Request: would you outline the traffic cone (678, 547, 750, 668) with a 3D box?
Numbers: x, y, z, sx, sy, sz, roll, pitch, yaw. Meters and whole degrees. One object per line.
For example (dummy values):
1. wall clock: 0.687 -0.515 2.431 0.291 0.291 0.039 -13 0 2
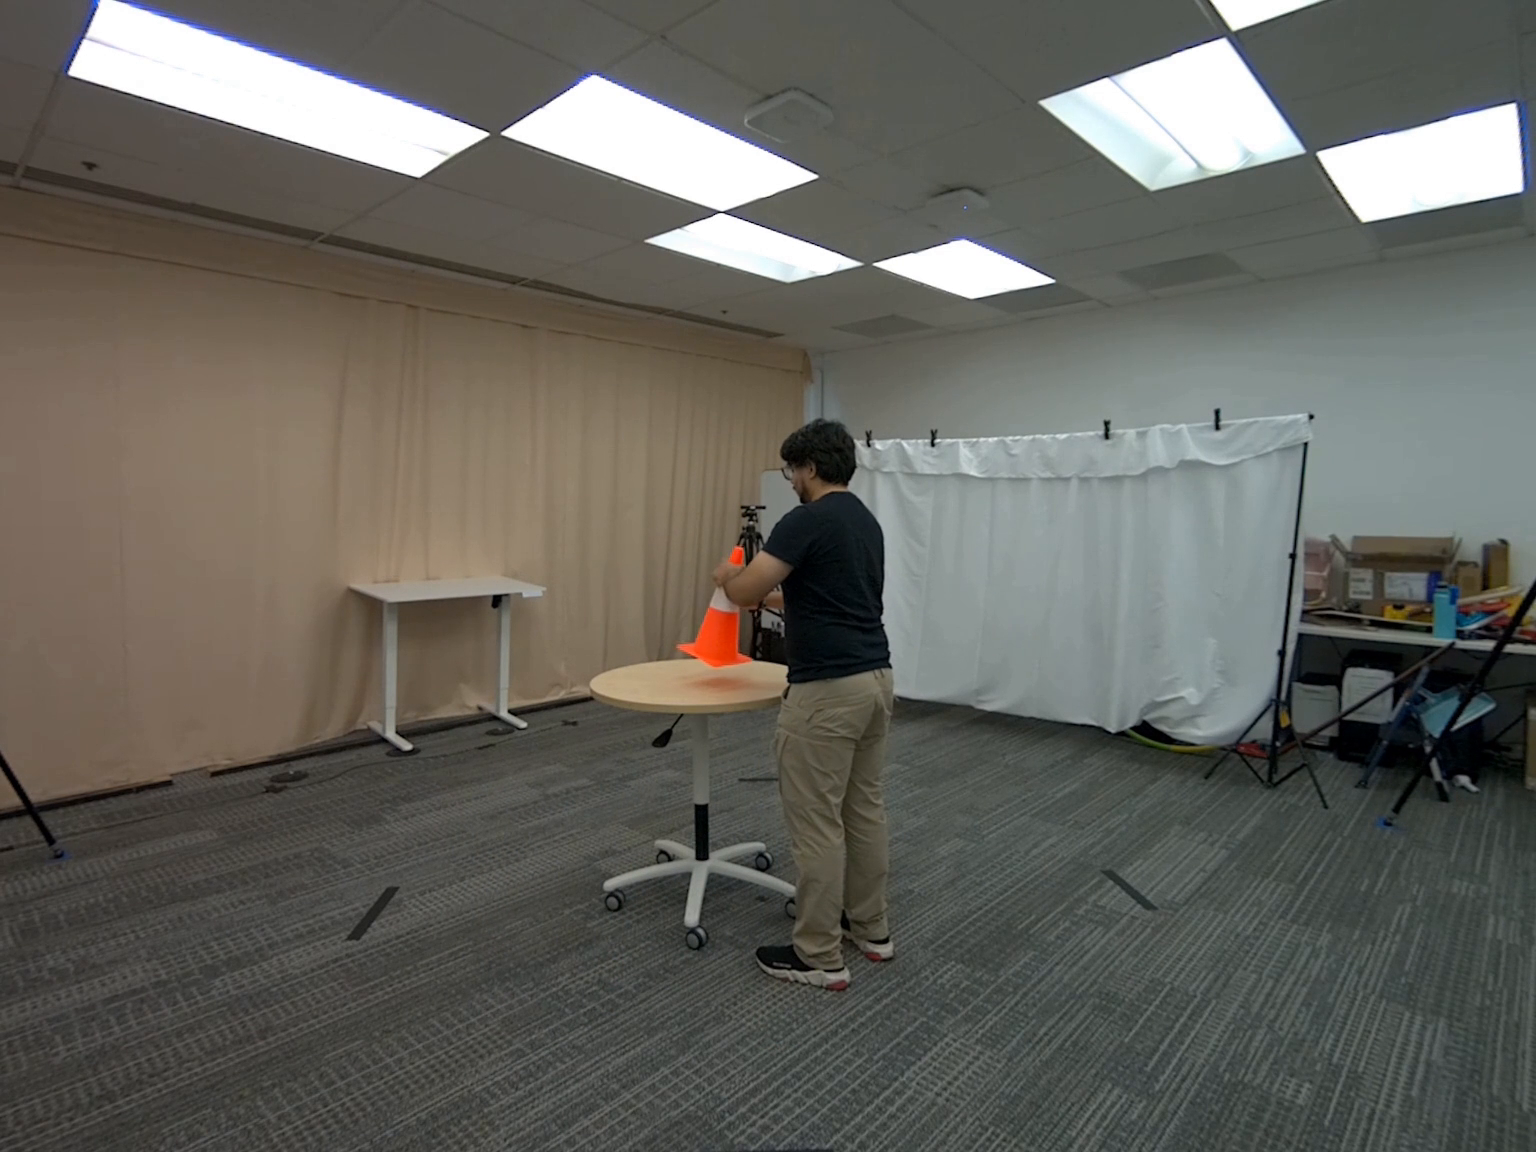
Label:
1. traffic cone: -0.138 0.088 2.857 0.212 0.382 0.197 16 10 35
